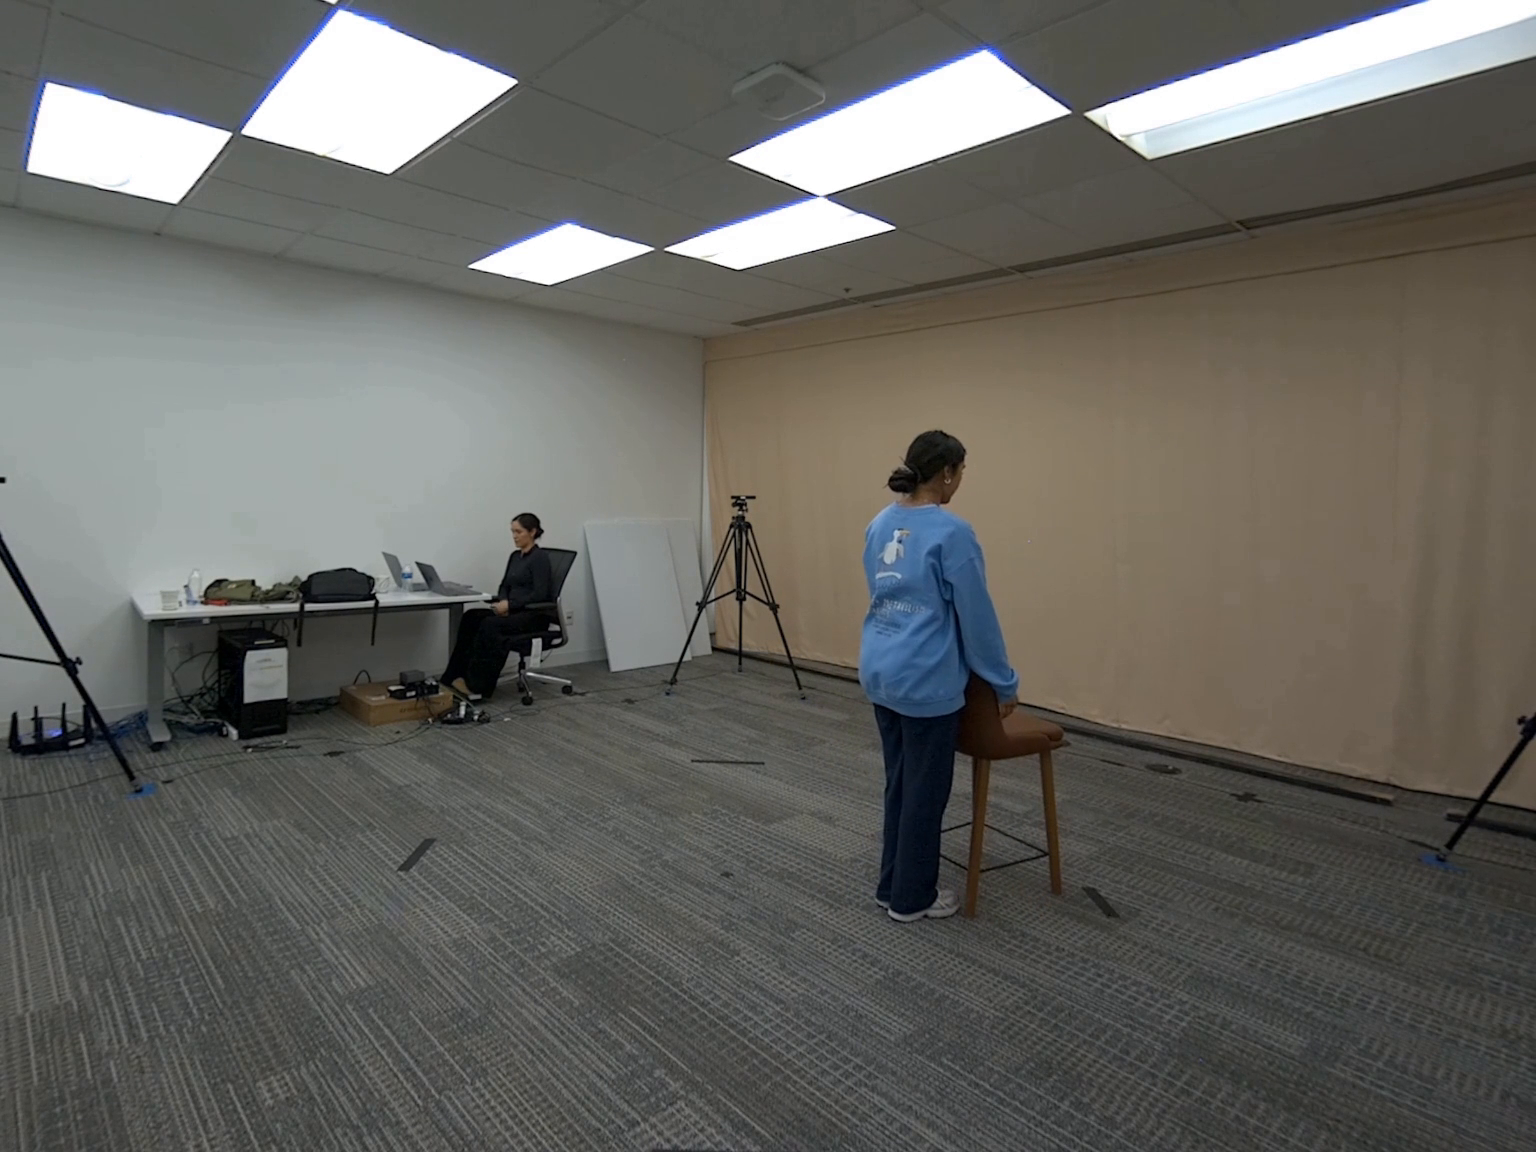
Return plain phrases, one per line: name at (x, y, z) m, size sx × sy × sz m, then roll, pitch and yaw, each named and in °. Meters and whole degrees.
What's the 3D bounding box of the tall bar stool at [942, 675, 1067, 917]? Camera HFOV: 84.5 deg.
tall bar stool at (0.768, 0.687, 3.058) m, size 0.458 × 0.887 × 0.467 m, roll -3°, pitch 6°, yaw -32°
